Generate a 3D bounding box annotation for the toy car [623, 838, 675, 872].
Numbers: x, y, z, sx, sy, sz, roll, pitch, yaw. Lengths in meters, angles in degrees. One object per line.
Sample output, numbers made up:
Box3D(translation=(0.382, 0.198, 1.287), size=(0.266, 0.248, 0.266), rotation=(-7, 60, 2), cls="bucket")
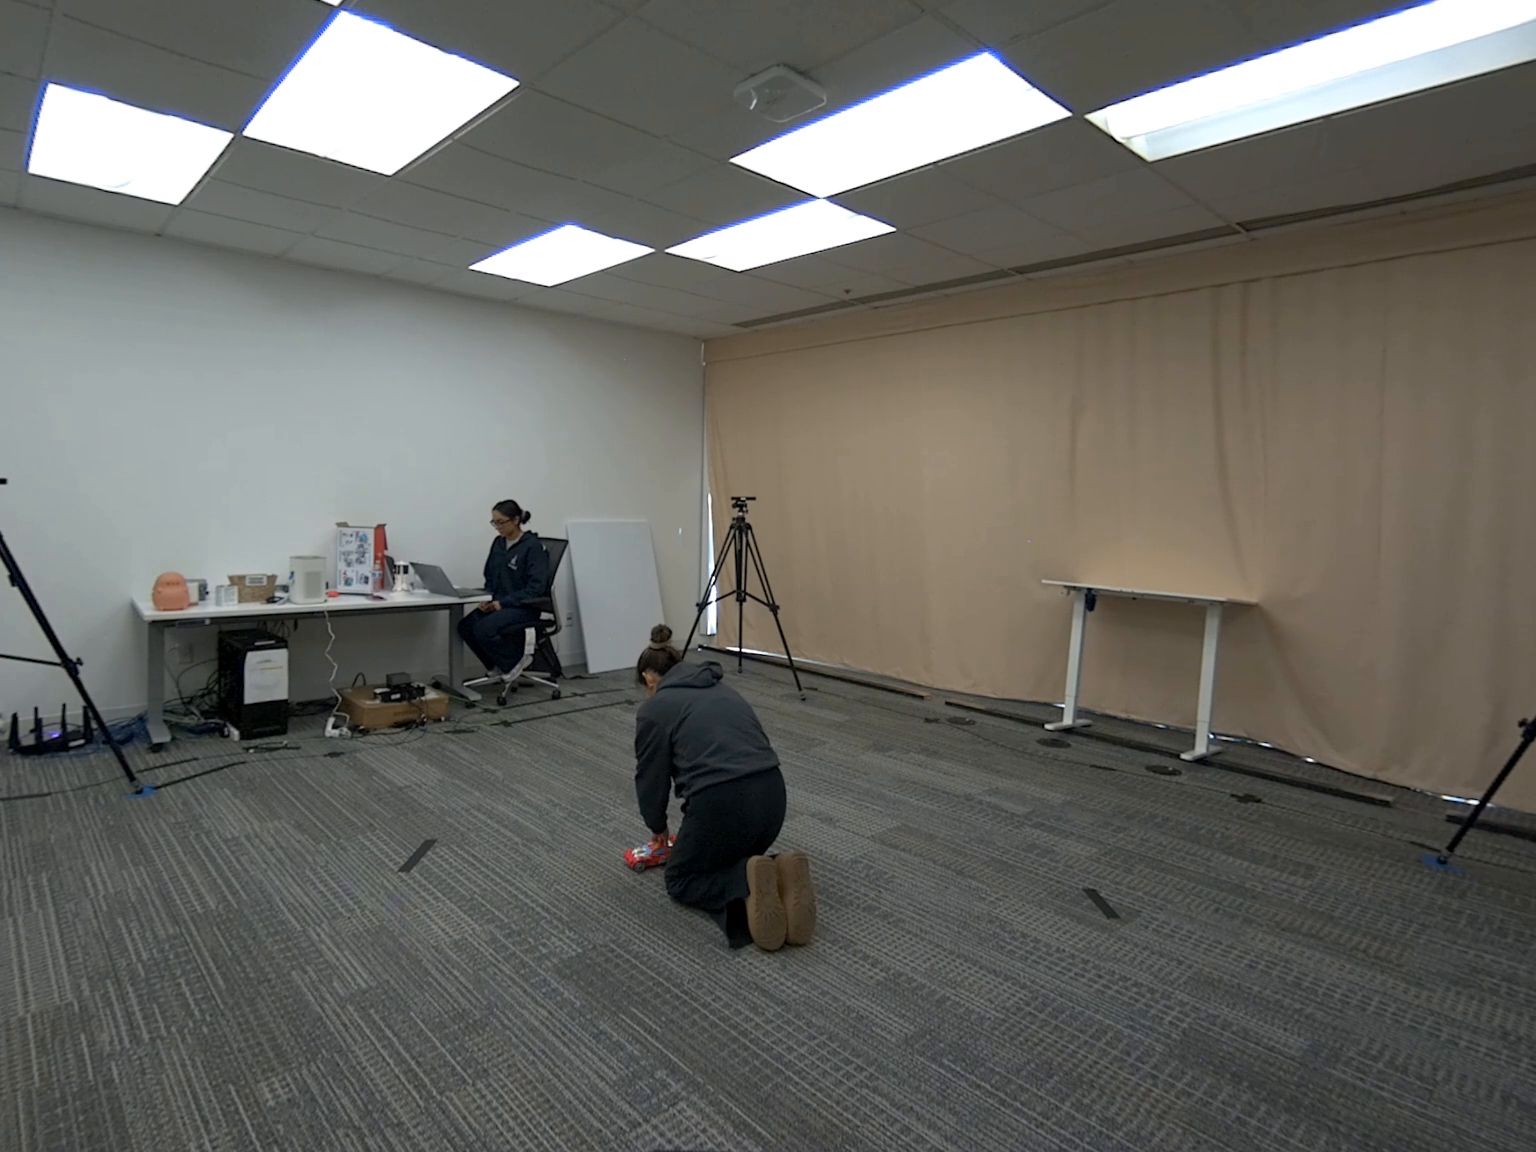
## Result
Box3D(translation=(-0.420, 1.056, 3.210), size=(0.251, 0.082, 0.133), rotation=(-12, 11, -26), cls="toy car")
